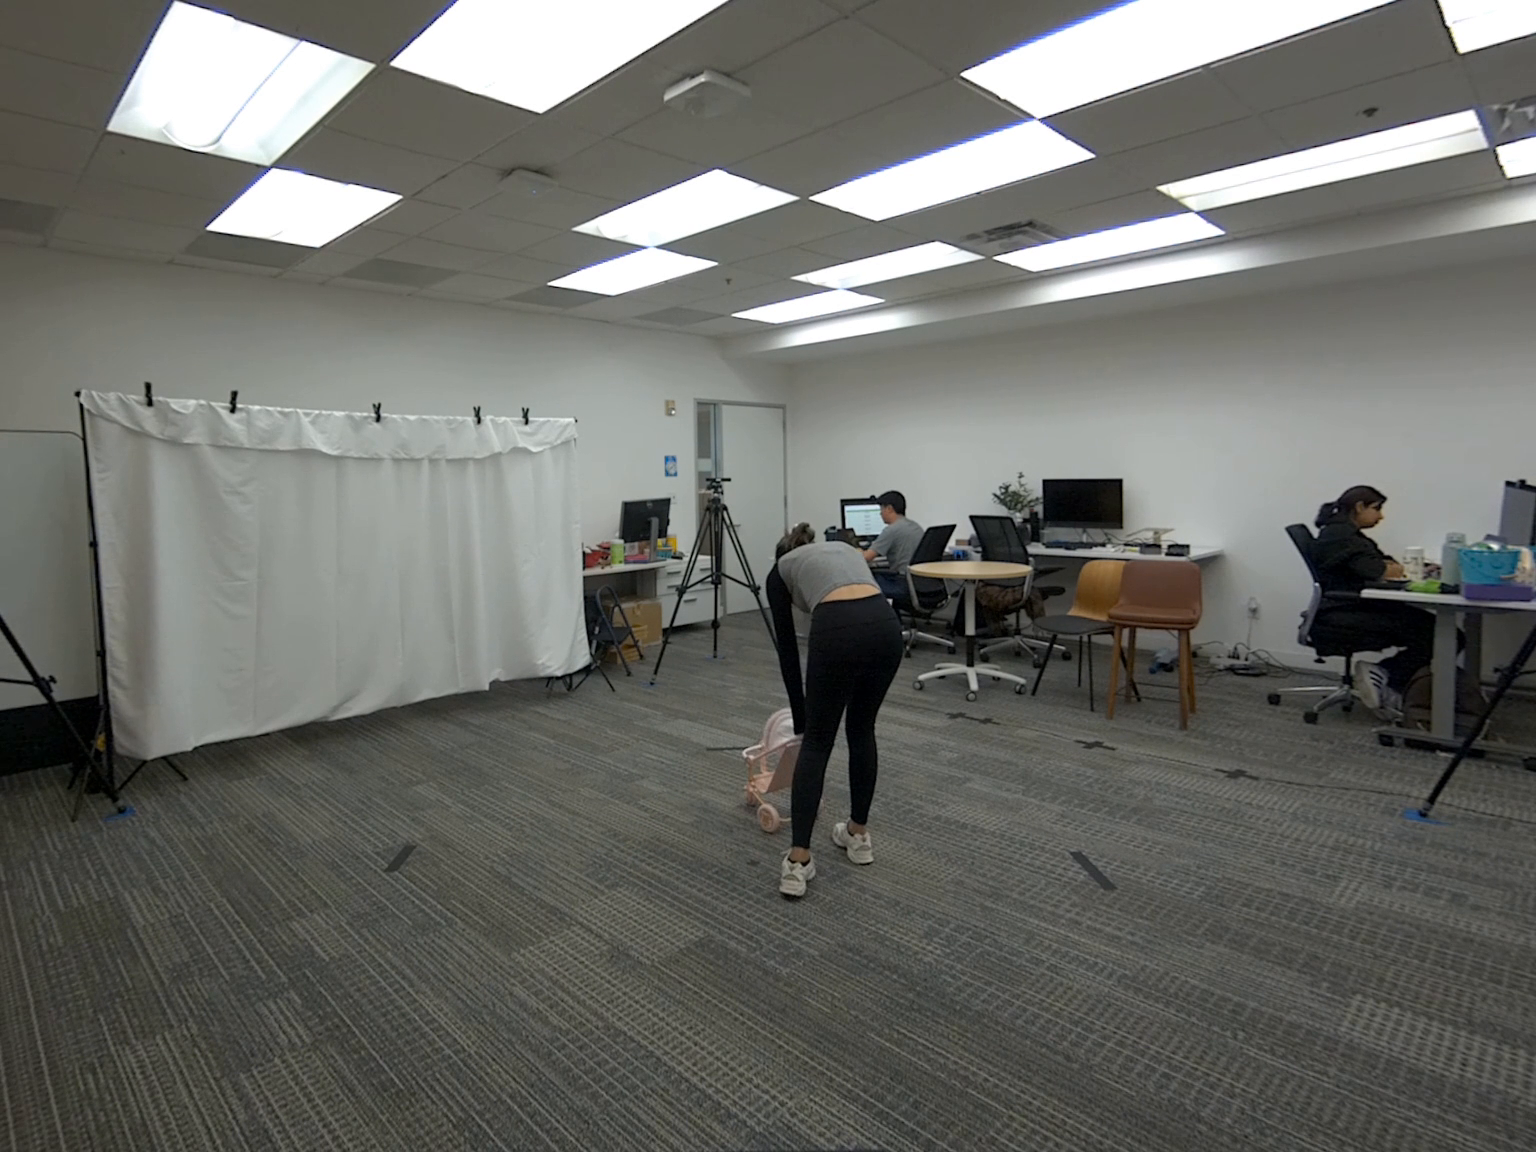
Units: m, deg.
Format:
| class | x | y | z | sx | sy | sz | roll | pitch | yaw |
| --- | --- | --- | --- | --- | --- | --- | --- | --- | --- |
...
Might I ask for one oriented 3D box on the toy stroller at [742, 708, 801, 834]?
| class | x | y | z | sx | sy | sz | roll | pitch | yaw |
| --- | --- | --- | --- | --- | --- | --- | --- | --- | --- |
| toy stroller | 0.054 | 0.771 | 3.488 | 0.274 | 0.528 | 0.354 | -3 | 22 | -37 |
